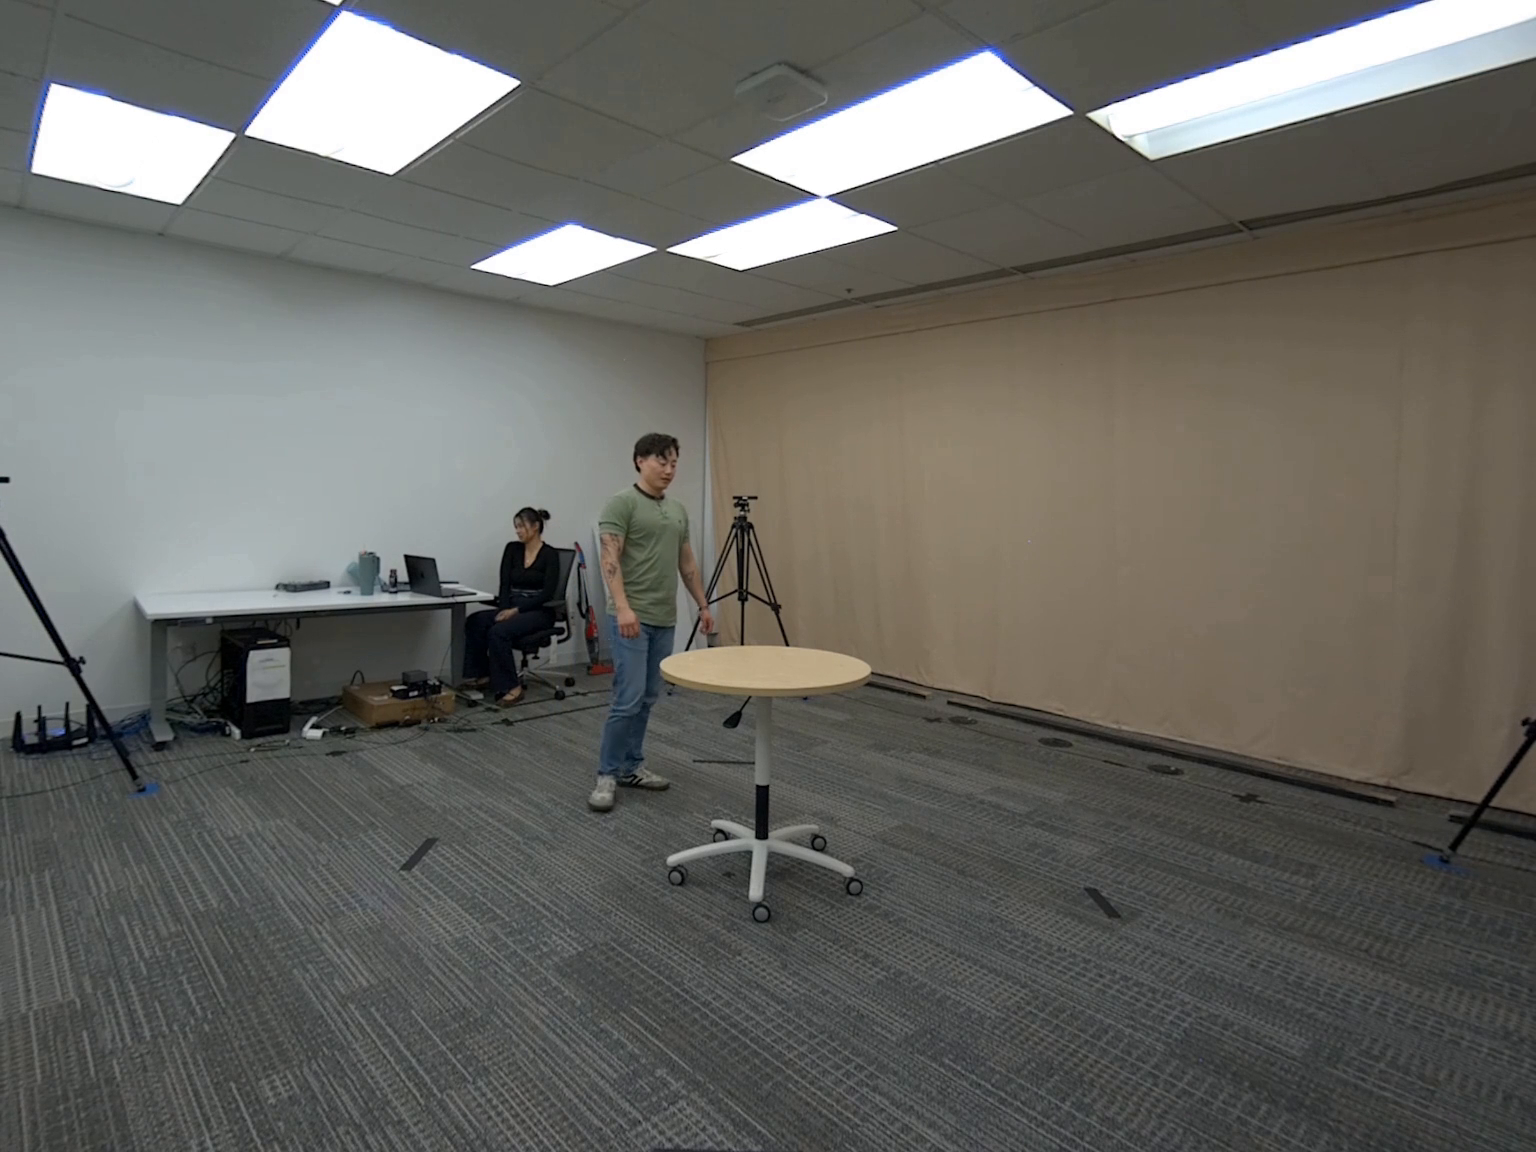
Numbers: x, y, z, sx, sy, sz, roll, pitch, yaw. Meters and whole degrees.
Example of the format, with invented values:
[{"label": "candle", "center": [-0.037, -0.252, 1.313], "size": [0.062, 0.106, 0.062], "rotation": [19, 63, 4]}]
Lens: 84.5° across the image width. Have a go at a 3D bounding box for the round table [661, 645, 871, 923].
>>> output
[{"label": "round table", "center": [-0.024, 0.716, 3.083], "size": [0.763, 0.792, 0.766], "rotation": [1, 4, -1]}]
